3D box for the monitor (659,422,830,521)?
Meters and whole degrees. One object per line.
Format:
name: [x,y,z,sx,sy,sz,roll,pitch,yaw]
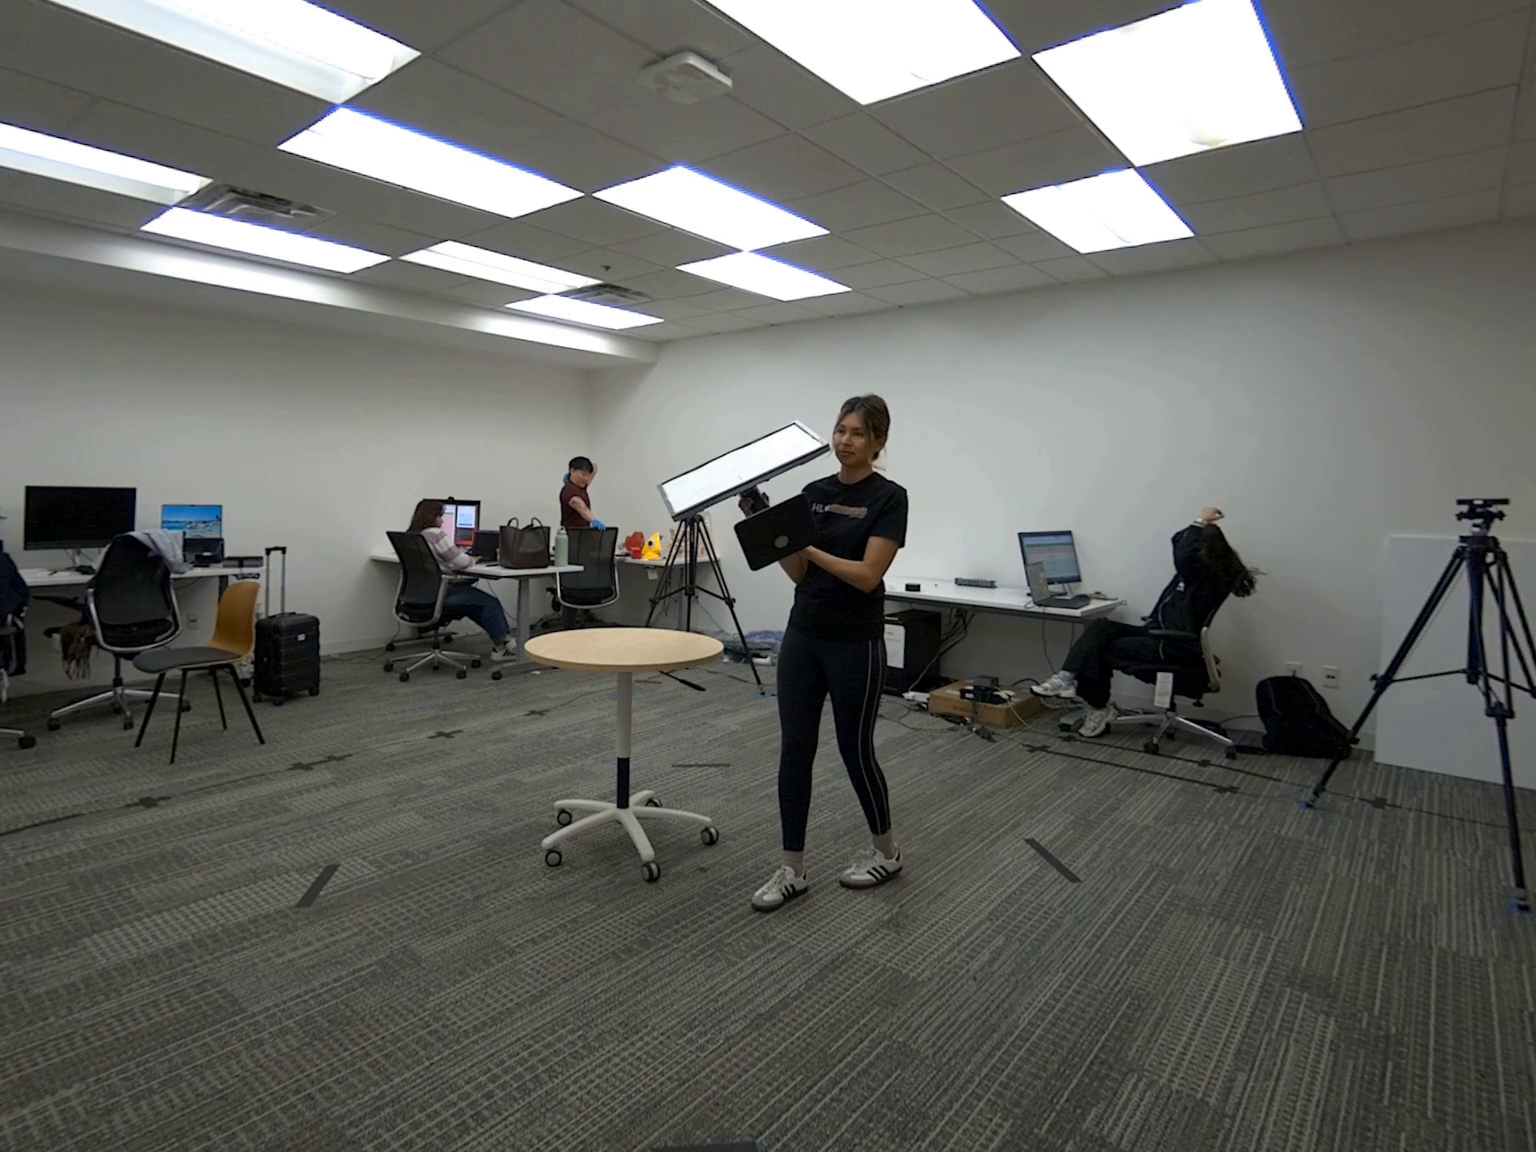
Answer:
monitor: [-0.069,-0.290,2.832,0.538,0.180,0.543,-24,38,-4]
